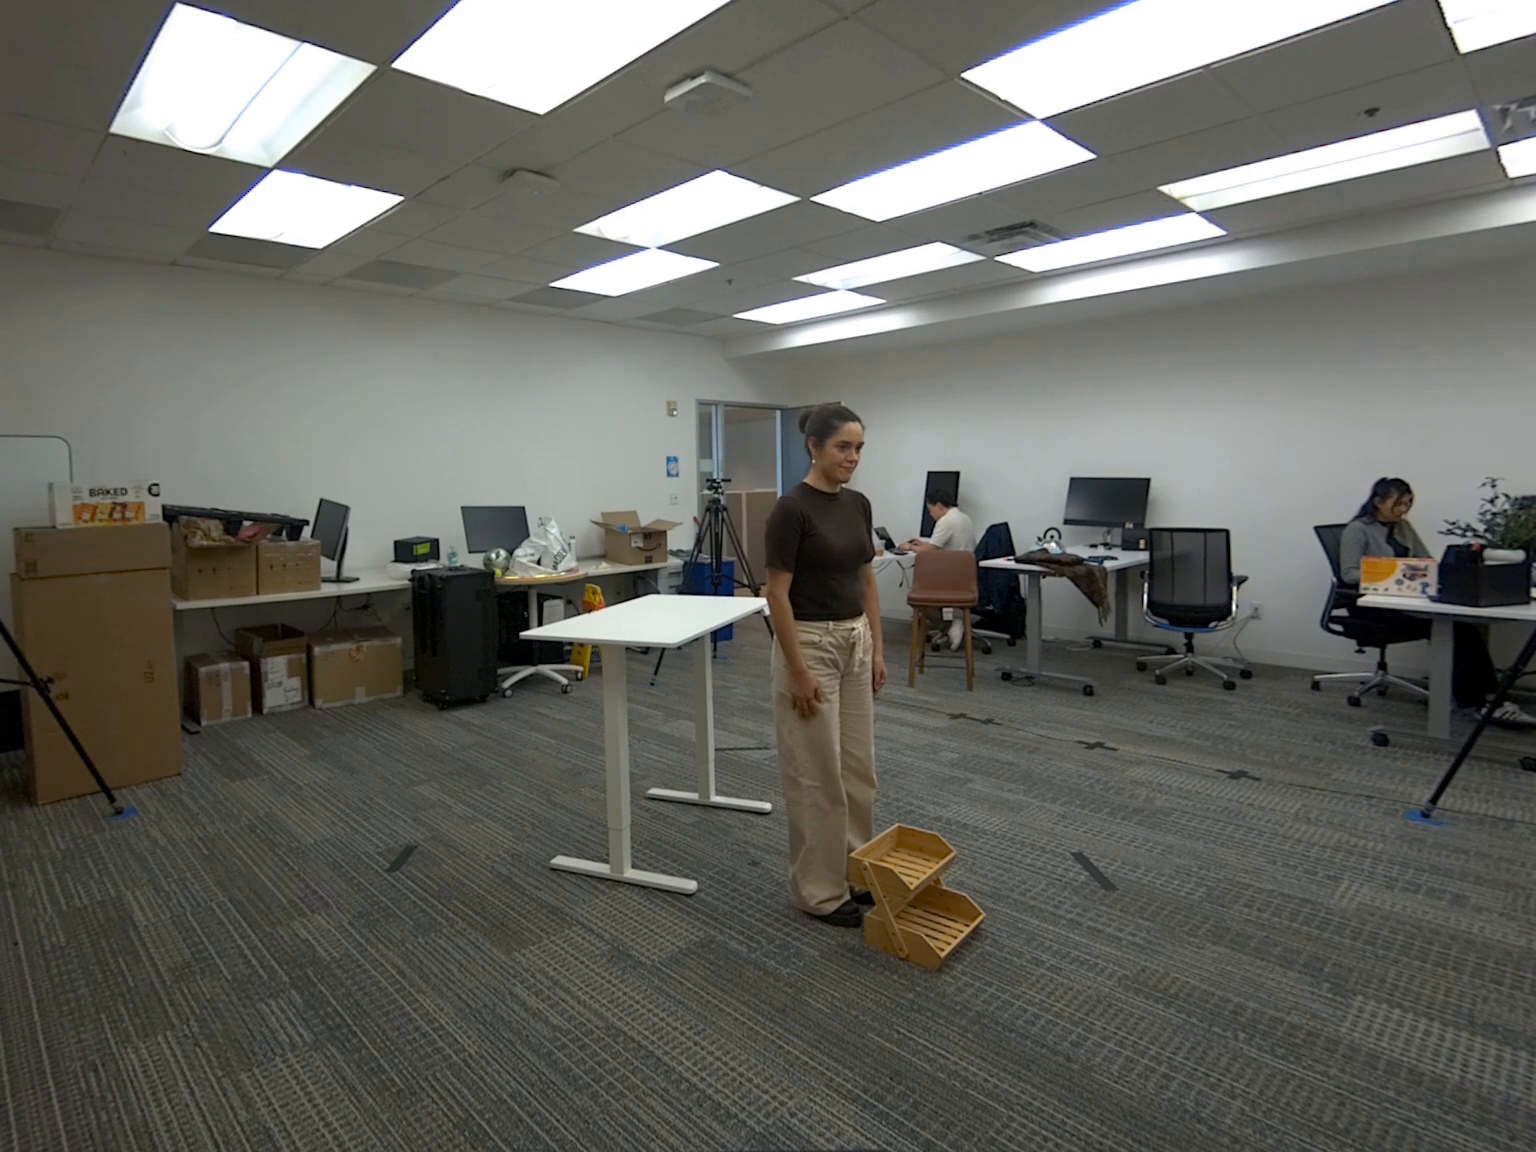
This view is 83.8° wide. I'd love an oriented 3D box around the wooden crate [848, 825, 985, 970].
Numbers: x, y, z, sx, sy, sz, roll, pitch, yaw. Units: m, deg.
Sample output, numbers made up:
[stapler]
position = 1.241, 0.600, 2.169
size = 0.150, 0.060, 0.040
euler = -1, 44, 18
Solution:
[wooden crate]
position = 0.462, 0.963, 2.594
size = 0.311, 0.272, 0.316
euler = 2, 6, 39
